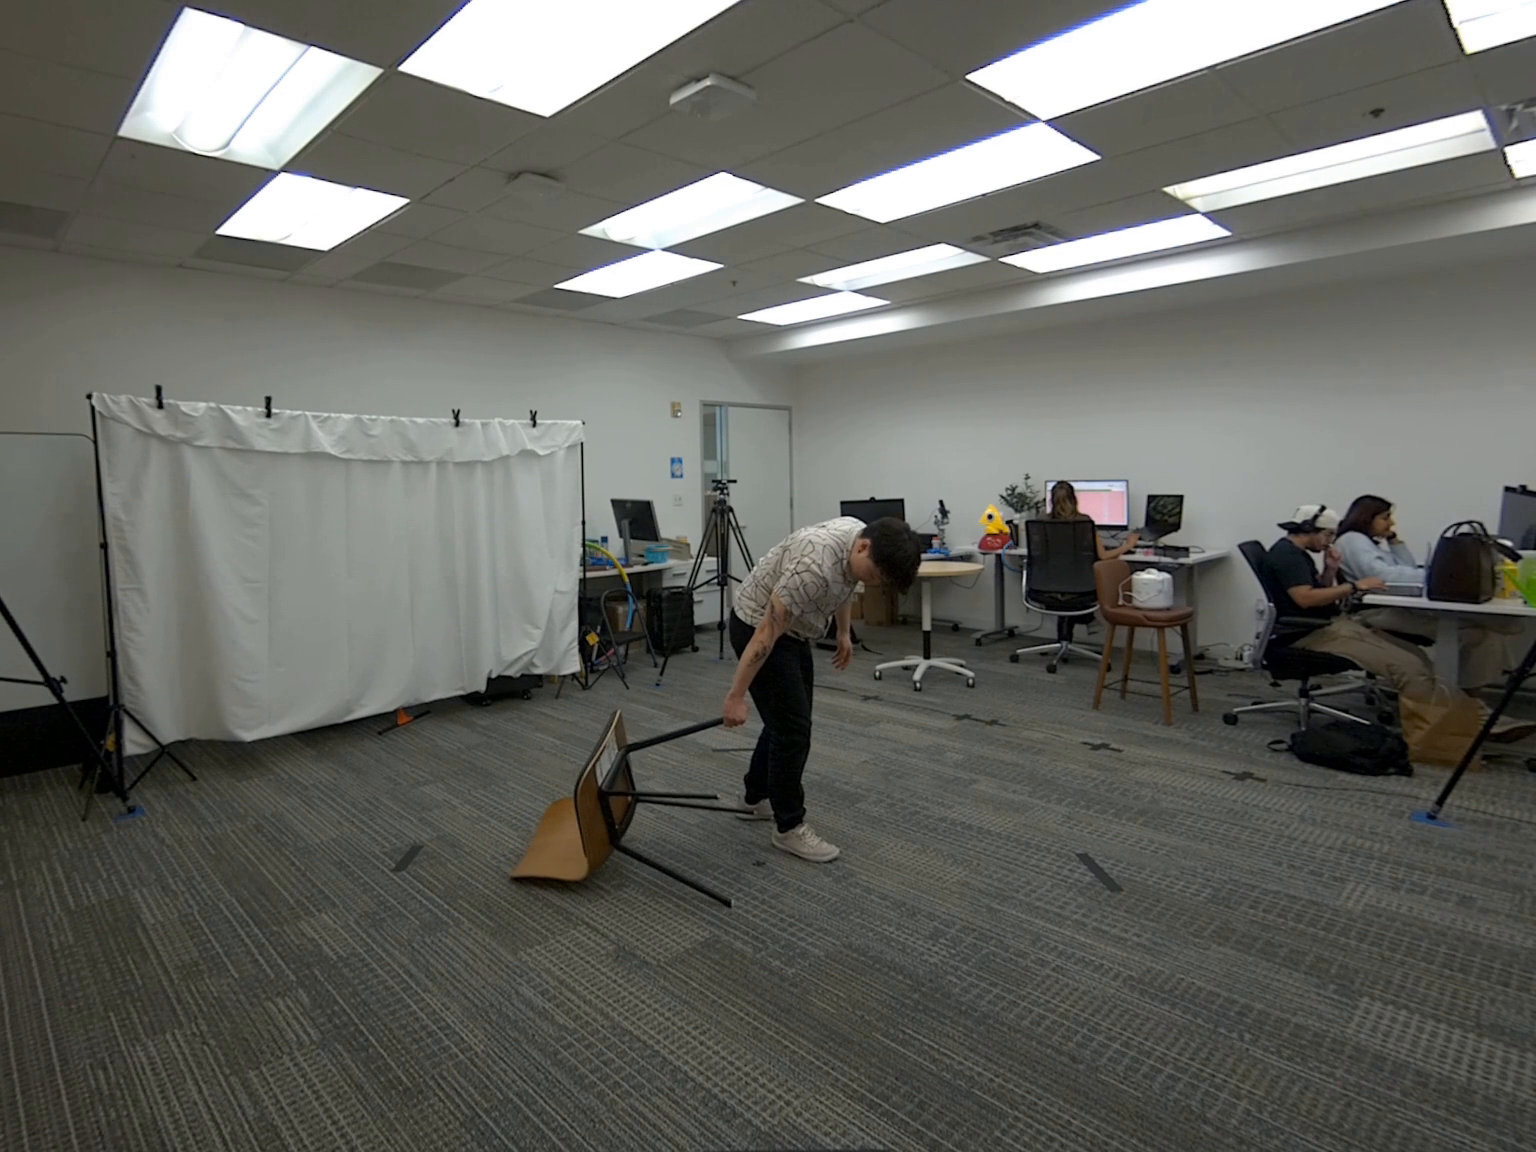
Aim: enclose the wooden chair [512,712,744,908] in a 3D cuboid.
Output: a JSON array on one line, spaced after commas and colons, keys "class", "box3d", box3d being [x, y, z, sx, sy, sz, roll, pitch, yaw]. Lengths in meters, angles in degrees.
[{"class": "wooden chair", "box3d": [-0.524, 0.784, 2.997, 0.888, 0.512, 0.482, -5, 22, 14]}]
